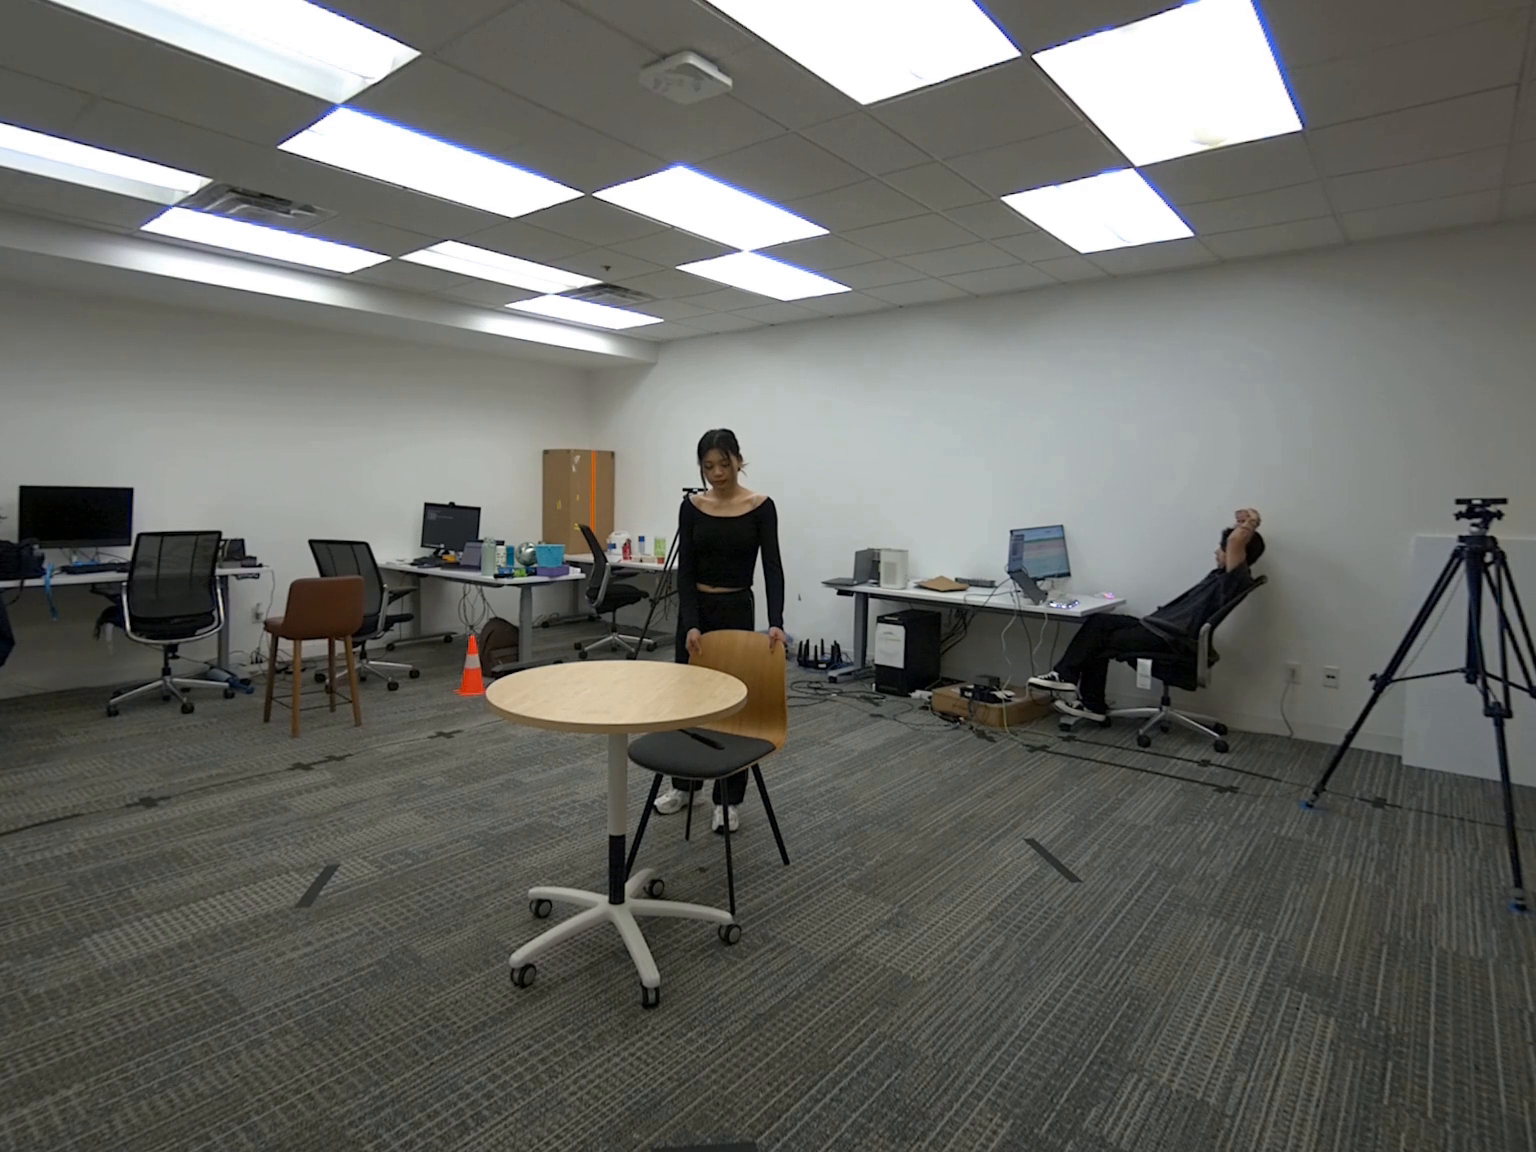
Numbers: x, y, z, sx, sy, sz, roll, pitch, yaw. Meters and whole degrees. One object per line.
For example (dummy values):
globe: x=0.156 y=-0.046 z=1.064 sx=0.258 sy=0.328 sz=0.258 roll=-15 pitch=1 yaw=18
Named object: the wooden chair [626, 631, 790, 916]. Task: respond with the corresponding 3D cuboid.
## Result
wooden chair: x=-0.219 y=0.646 z=3.046 sx=0.491 sy=0.878 sz=0.508 roll=3 pitch=-1 yaw=28
